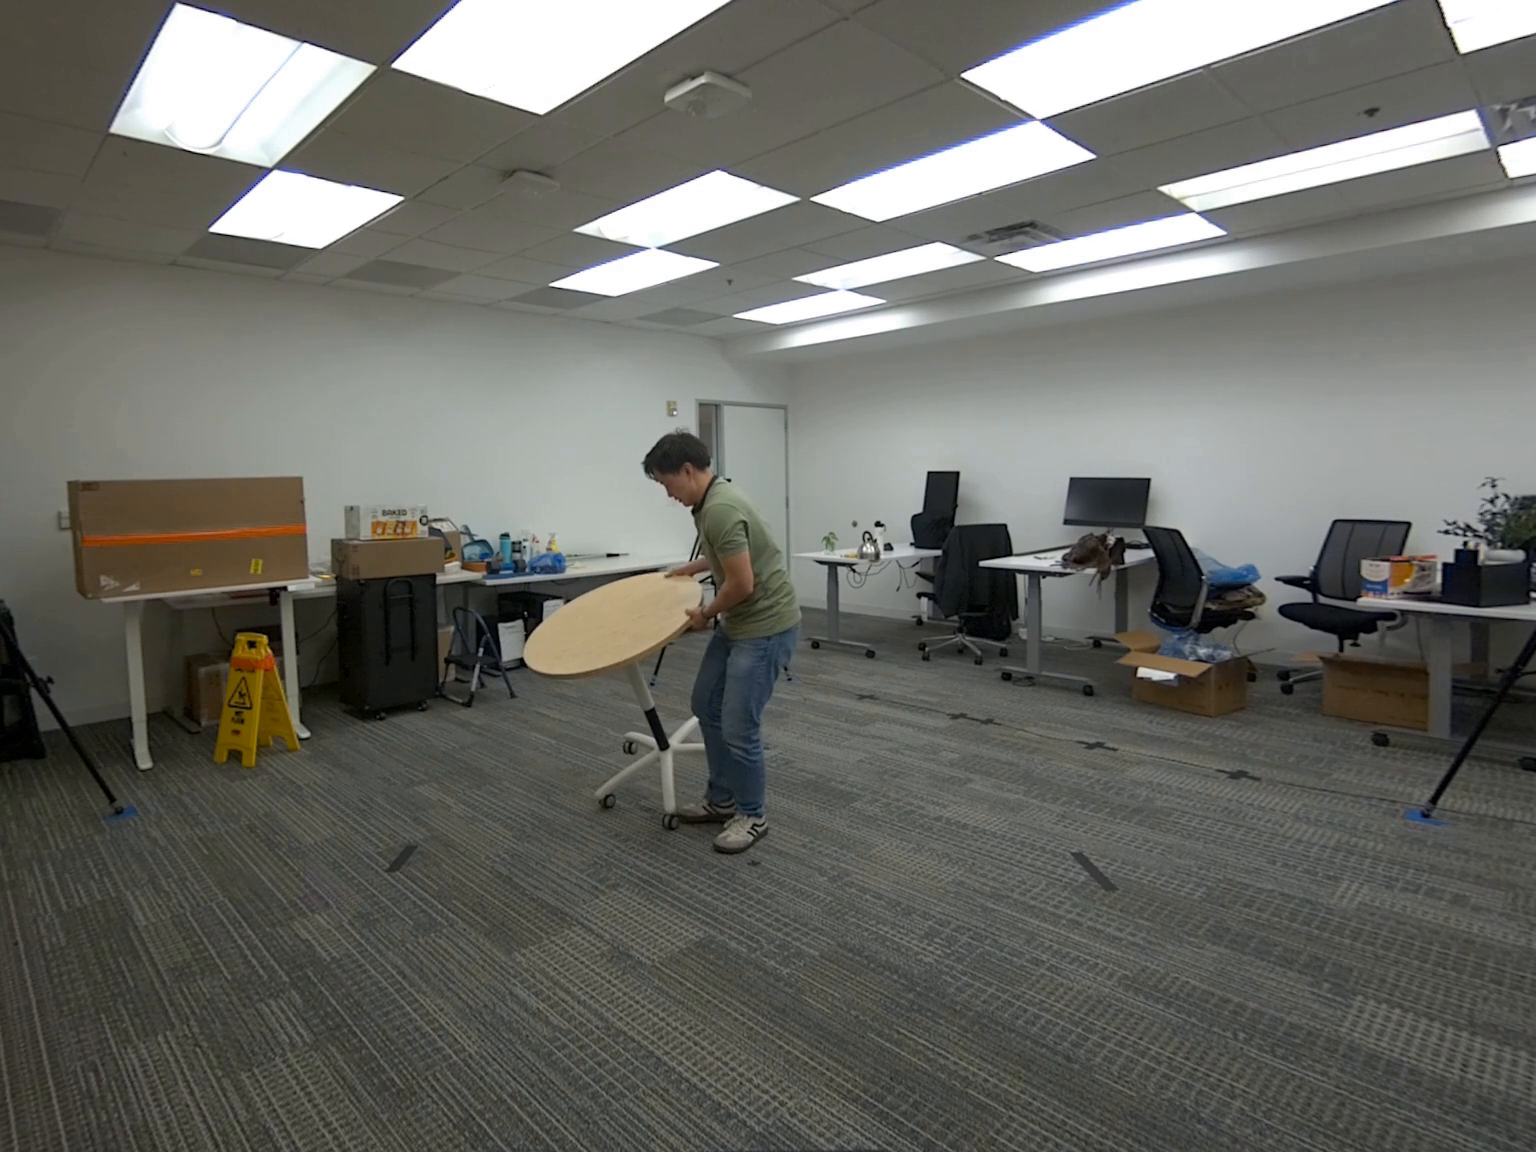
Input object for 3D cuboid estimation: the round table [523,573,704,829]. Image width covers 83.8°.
[{"bbox_3d":[-0.524,0.526,3.610,0.767,0.775,0.780,-16,23,5],"label":"round table"}]
